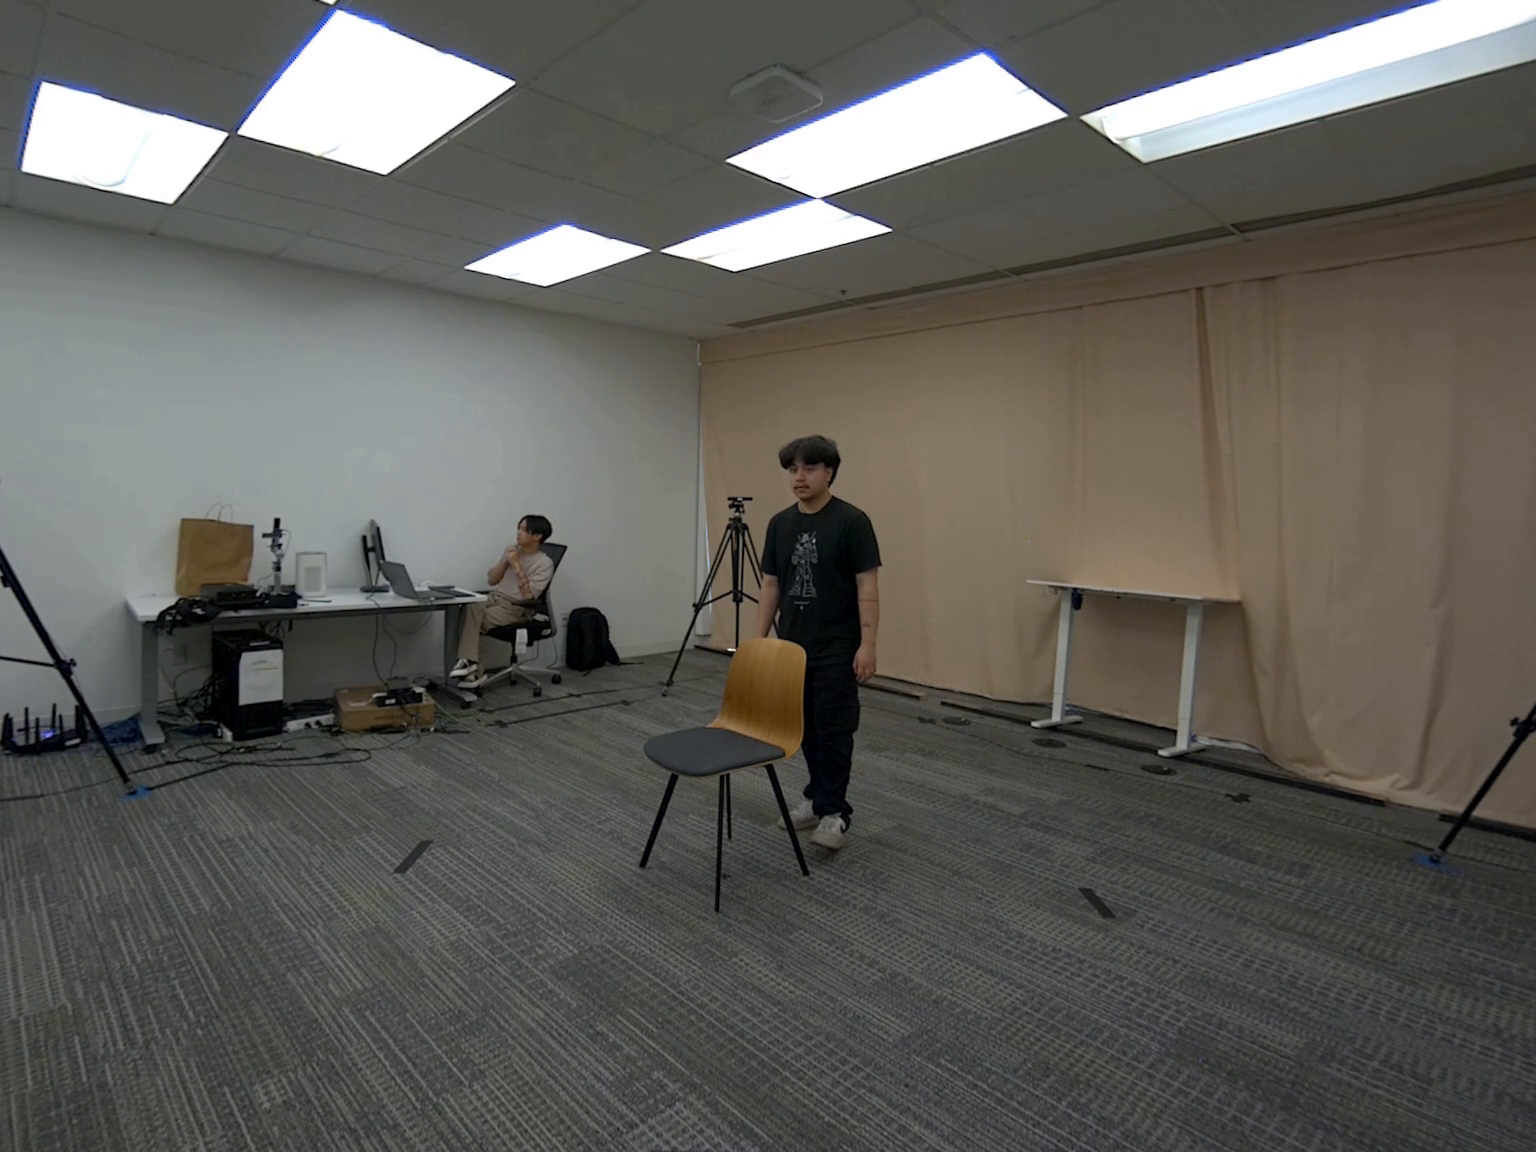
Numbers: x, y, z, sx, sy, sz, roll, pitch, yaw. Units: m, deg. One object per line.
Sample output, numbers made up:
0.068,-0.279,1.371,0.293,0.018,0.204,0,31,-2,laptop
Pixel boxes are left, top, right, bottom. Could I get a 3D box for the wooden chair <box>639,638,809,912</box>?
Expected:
-0.166,0.682,3.102,0.510,0.877,0.490,4,1,-43,wooden chair
